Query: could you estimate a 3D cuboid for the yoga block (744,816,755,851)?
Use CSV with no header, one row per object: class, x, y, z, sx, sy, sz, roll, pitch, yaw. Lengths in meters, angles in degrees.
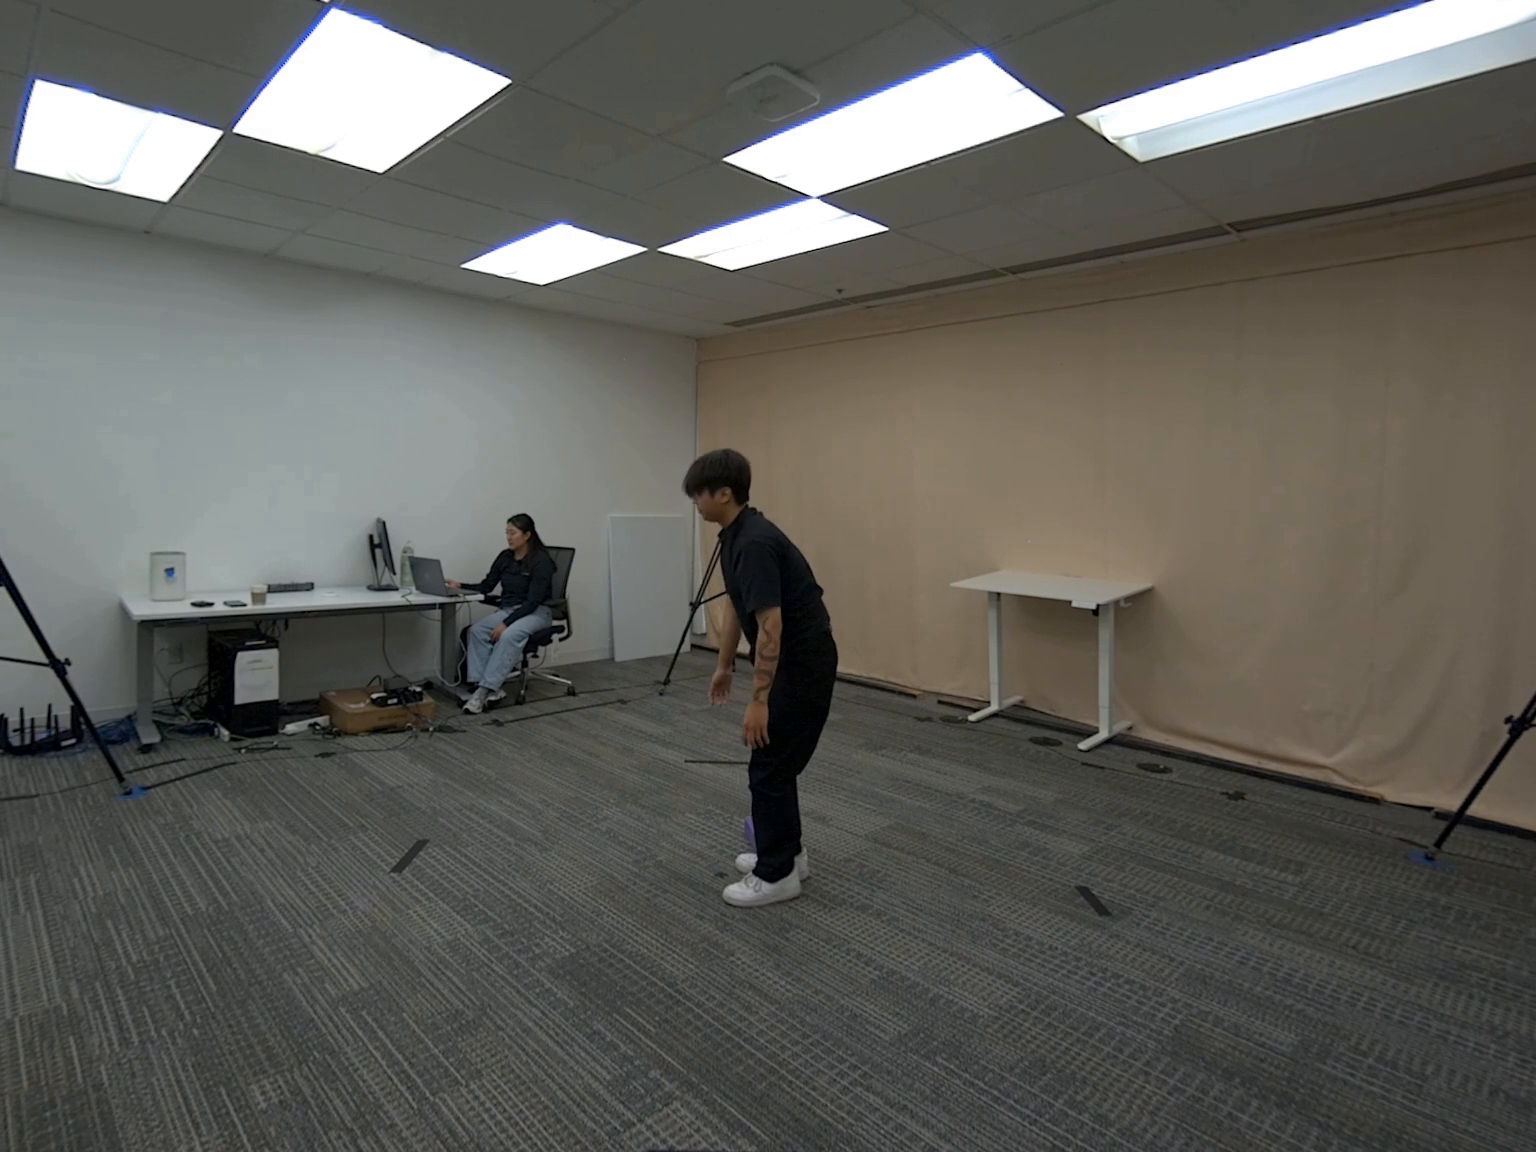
yoga block,-0.003,1.047,3.395,0.147,0.076,0.232,-1,6,-12
